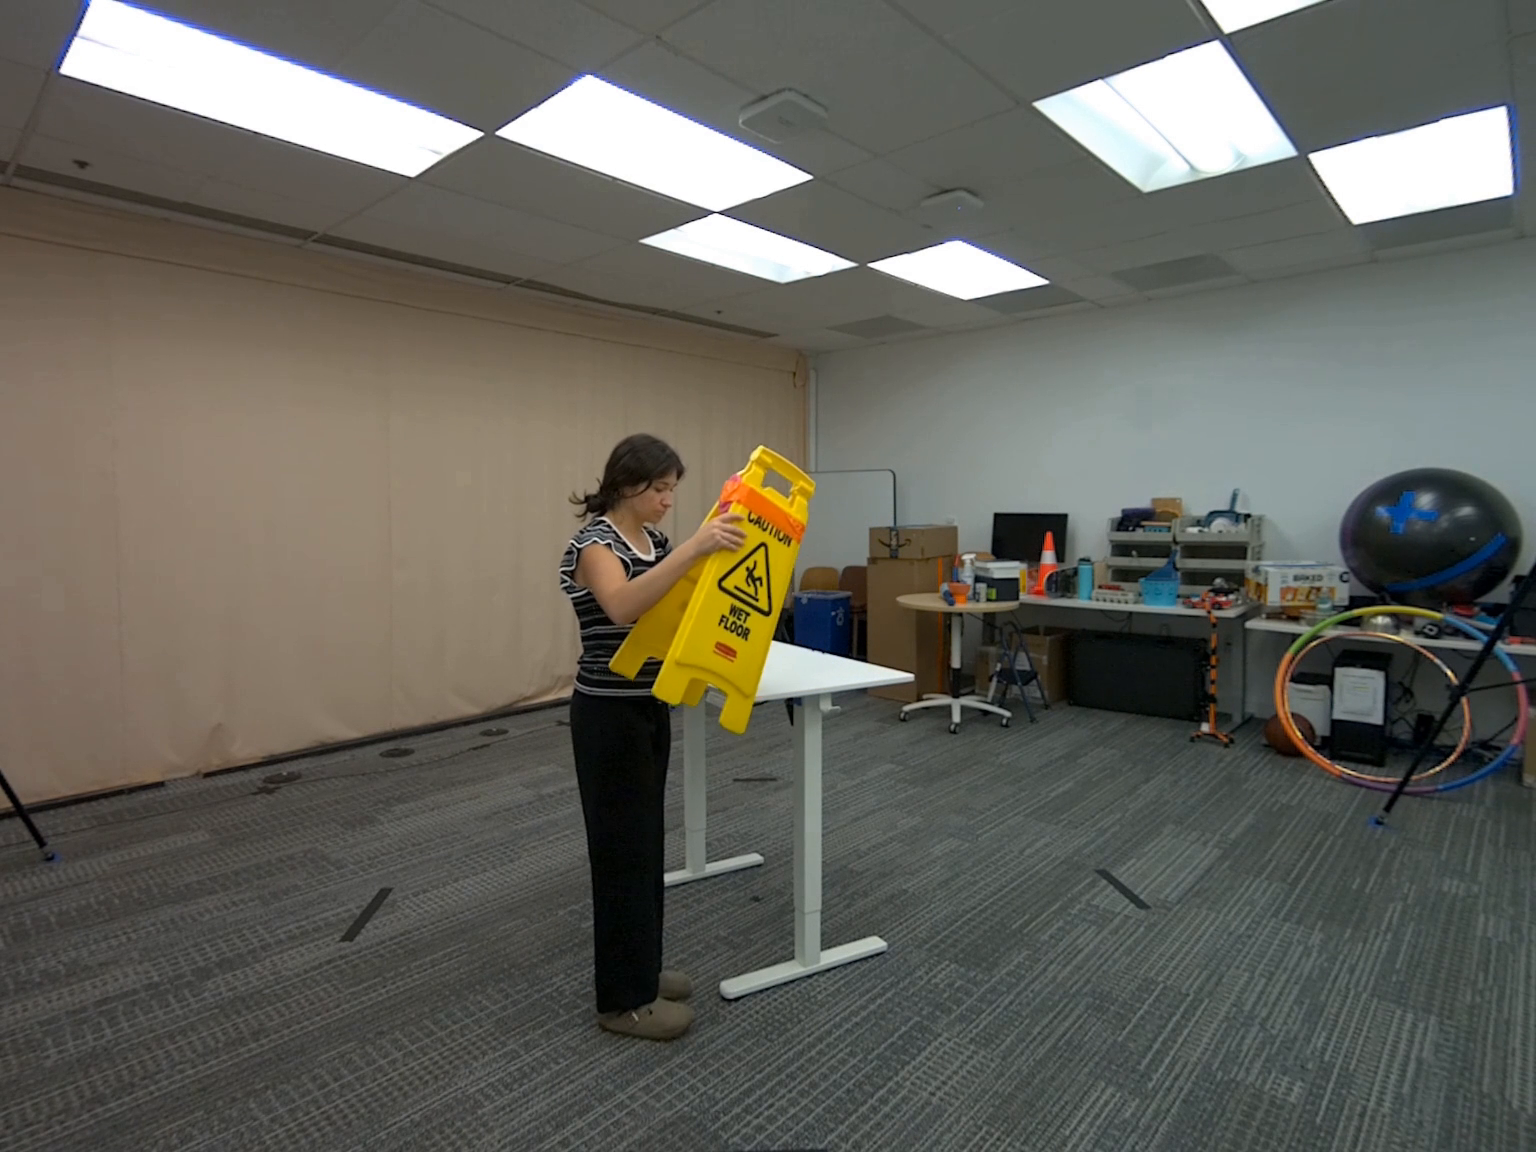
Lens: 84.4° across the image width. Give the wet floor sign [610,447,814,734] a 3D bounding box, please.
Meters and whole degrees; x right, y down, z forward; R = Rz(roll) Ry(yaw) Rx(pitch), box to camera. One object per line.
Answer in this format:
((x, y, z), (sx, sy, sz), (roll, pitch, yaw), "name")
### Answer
((-0.085, 0.013, 2.061), (0.273, 0.646, 0.299), (31, -9, -33), "wet floor sign")
